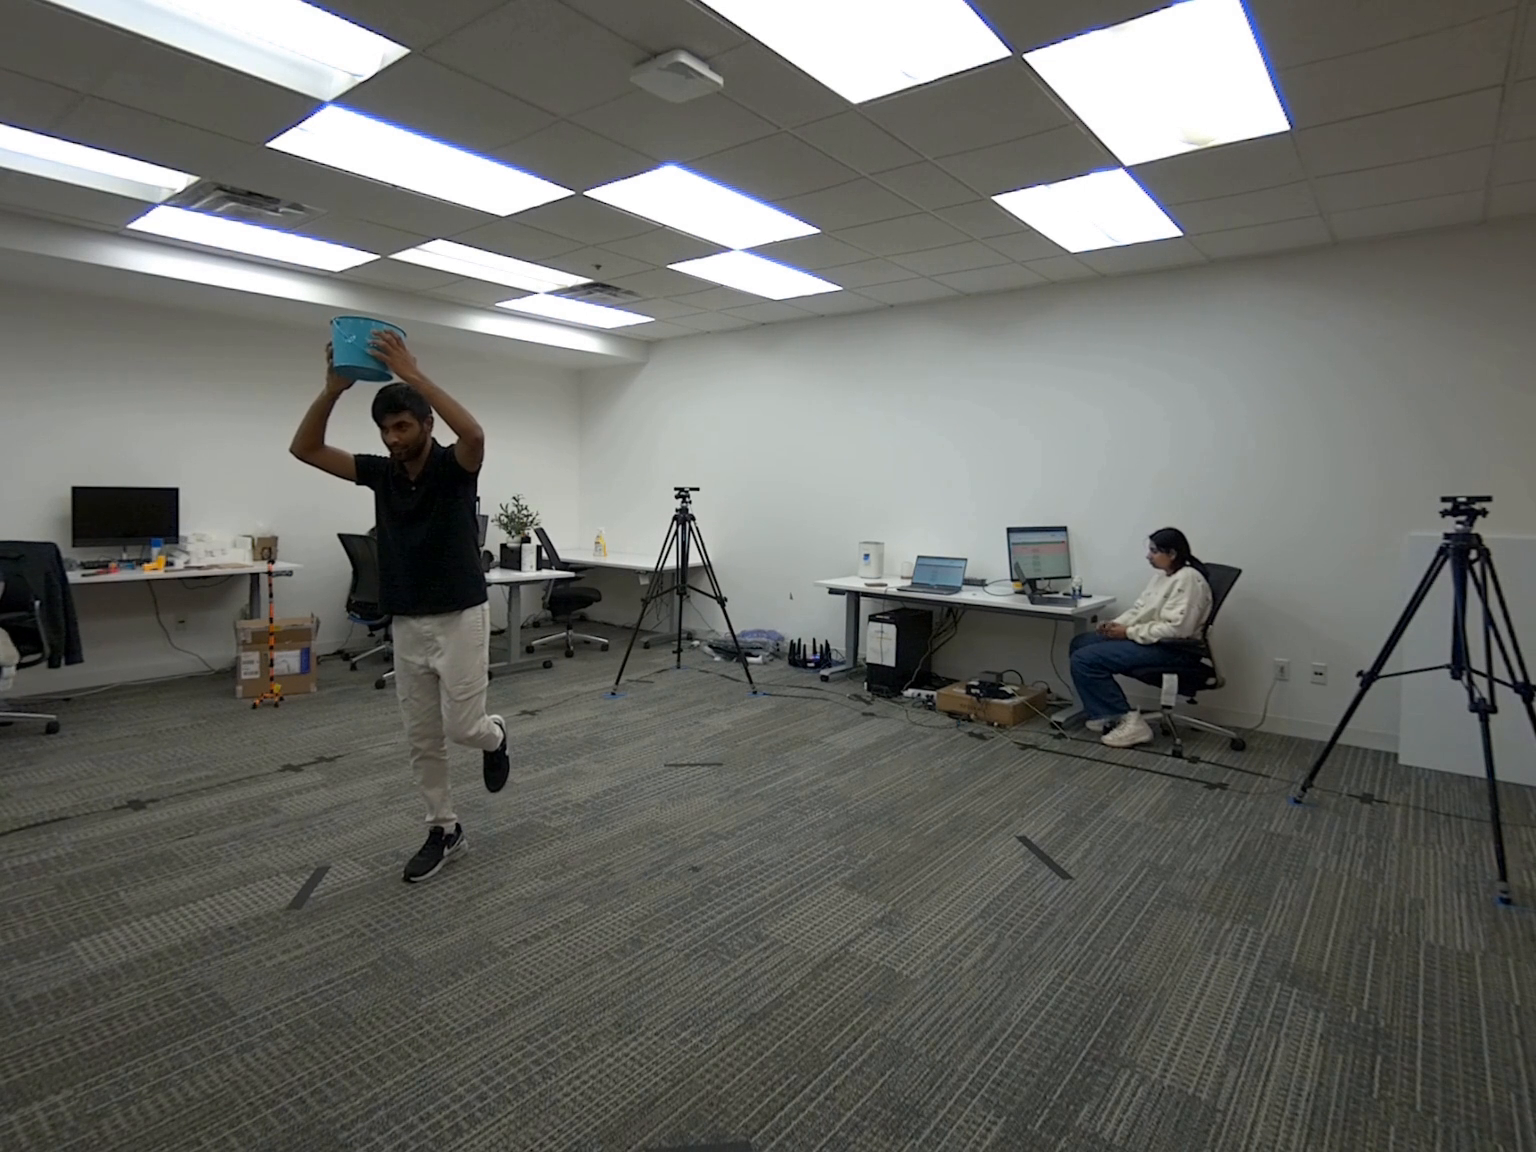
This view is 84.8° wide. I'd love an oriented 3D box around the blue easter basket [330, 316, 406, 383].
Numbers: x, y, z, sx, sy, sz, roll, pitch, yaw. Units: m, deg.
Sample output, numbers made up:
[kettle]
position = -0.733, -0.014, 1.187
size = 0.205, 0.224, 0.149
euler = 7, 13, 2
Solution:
[blue easter basket]
position = -1.317, -0.728, 2.730
size = 0.243, 0.157, 0.242
euler = 3, -5, -2
